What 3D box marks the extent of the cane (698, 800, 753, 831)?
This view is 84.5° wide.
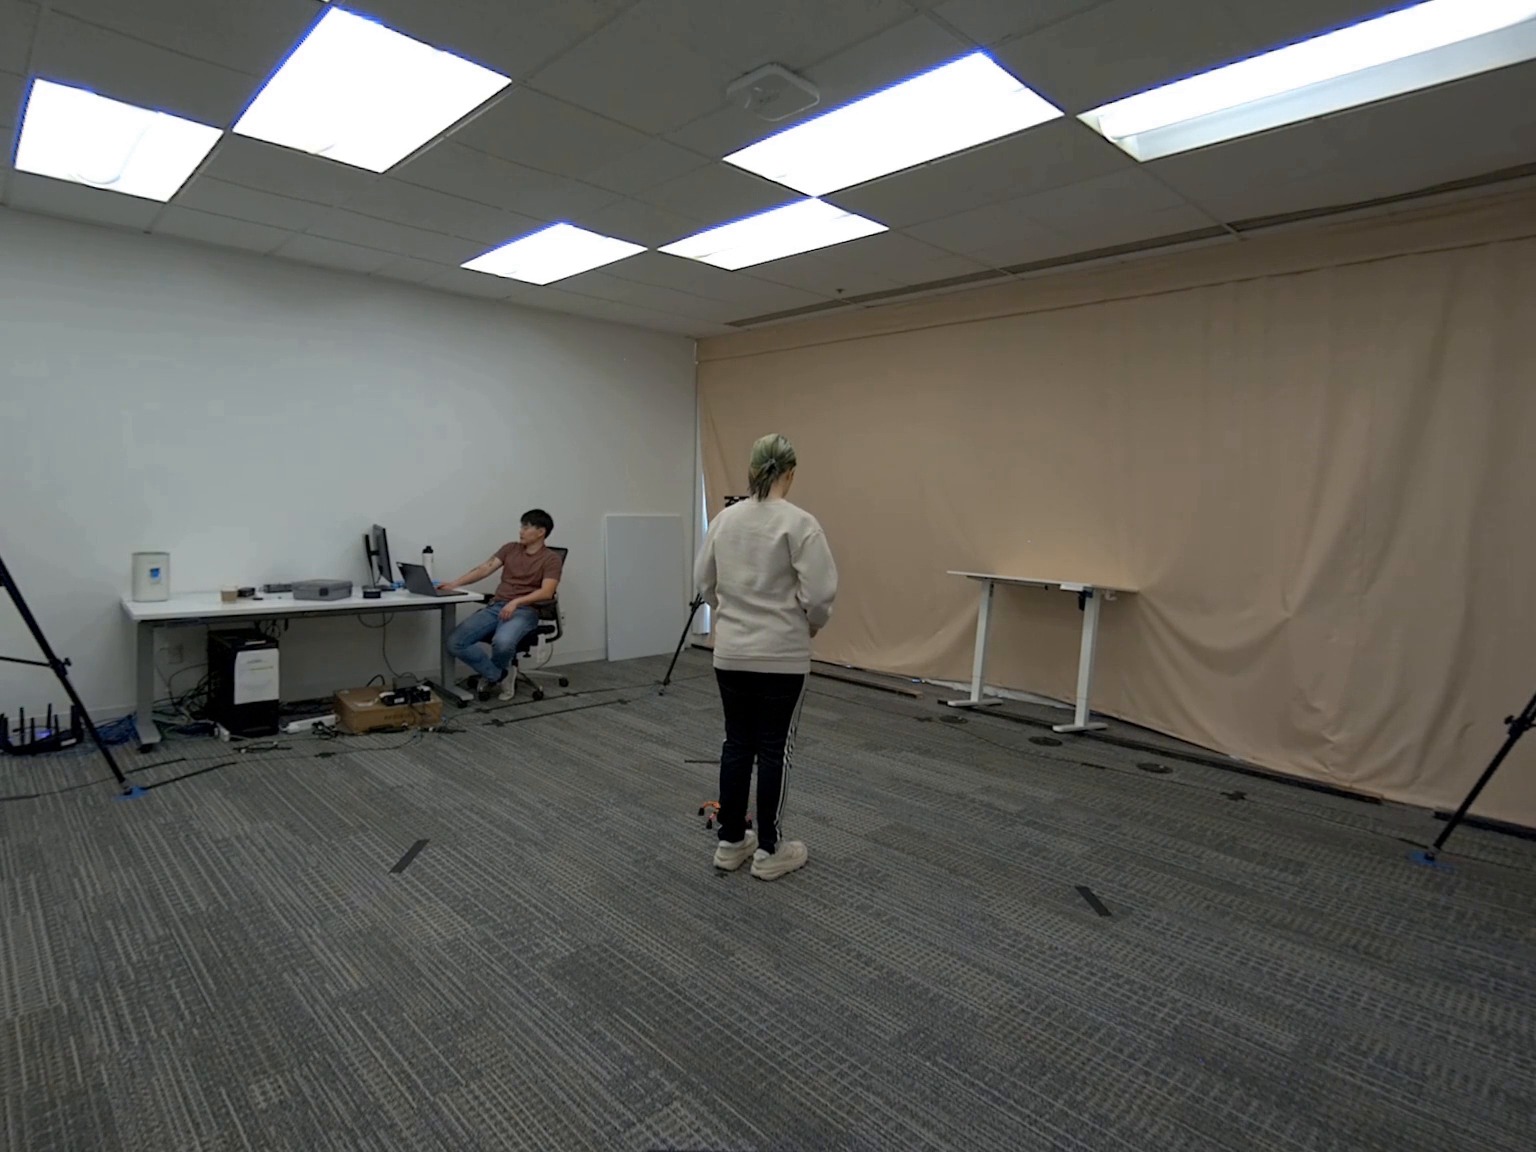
[{"bbox_3d":[-0.113,0.596,3.503,0.203,0.904,0.154,6,6,-19],"label":"cane"}]
